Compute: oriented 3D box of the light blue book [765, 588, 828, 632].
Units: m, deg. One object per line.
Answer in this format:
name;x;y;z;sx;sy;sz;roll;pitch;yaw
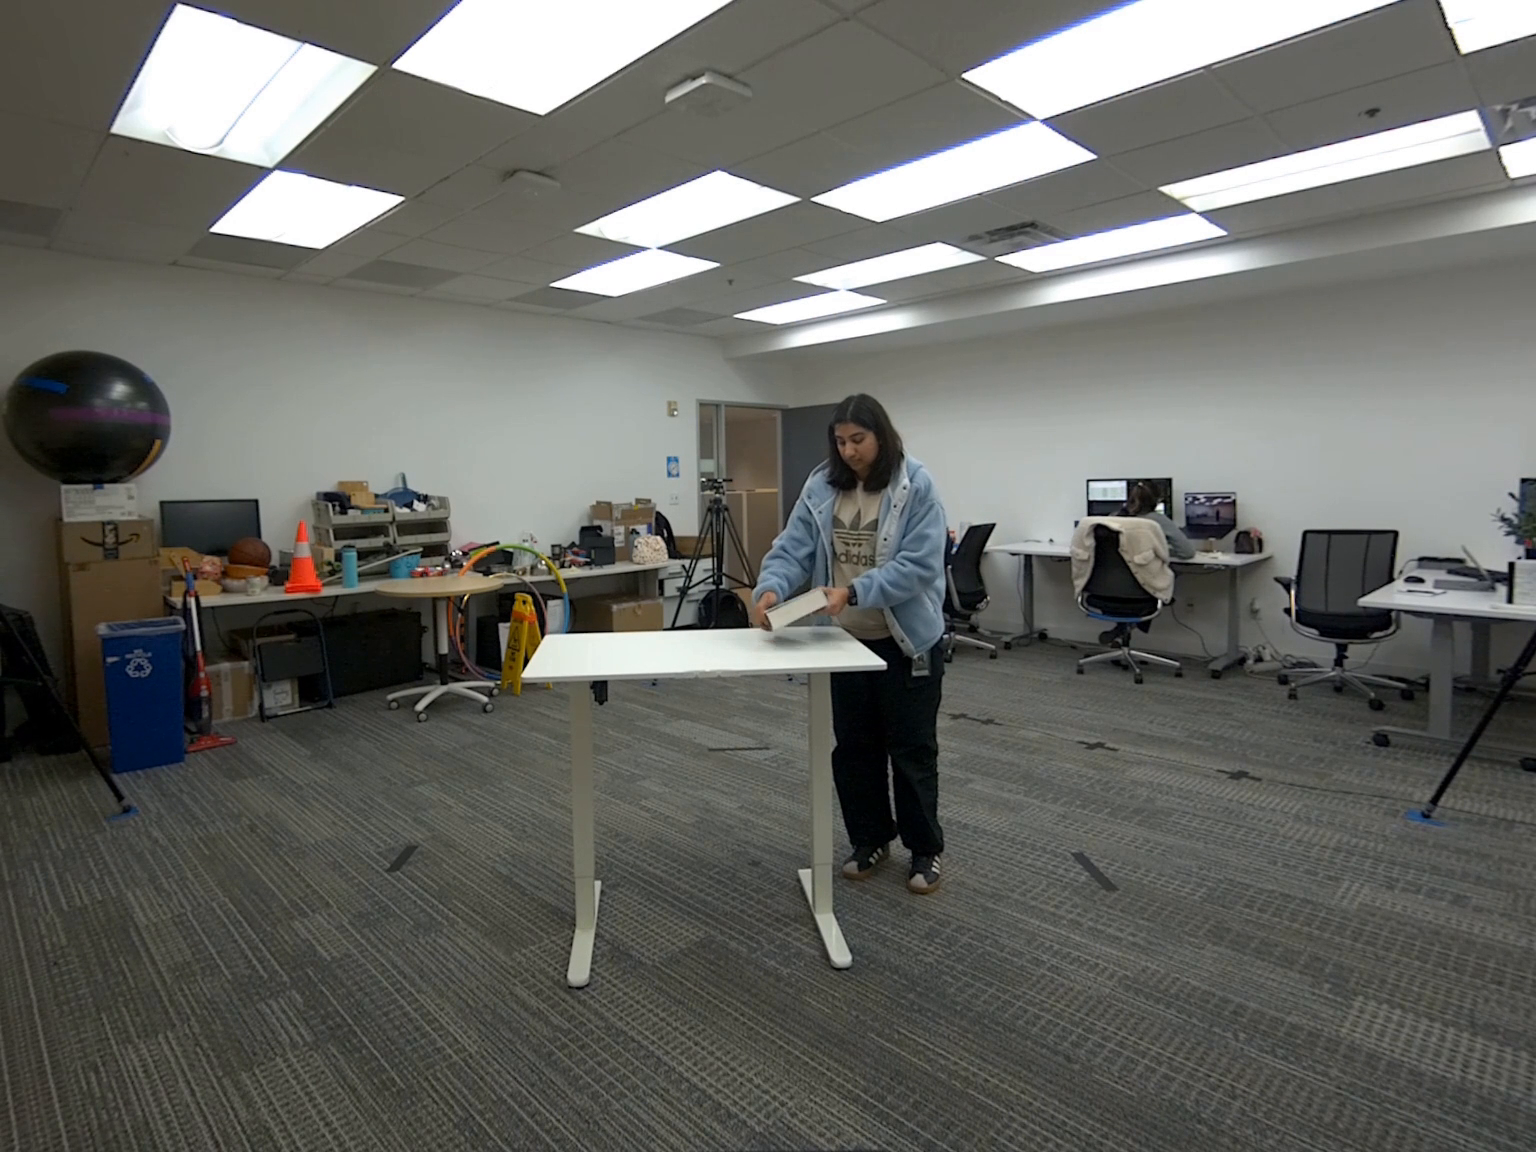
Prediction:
light blue book;0.092;0.107;2.696;0.191;0.059;0.259;-25;-3;0
